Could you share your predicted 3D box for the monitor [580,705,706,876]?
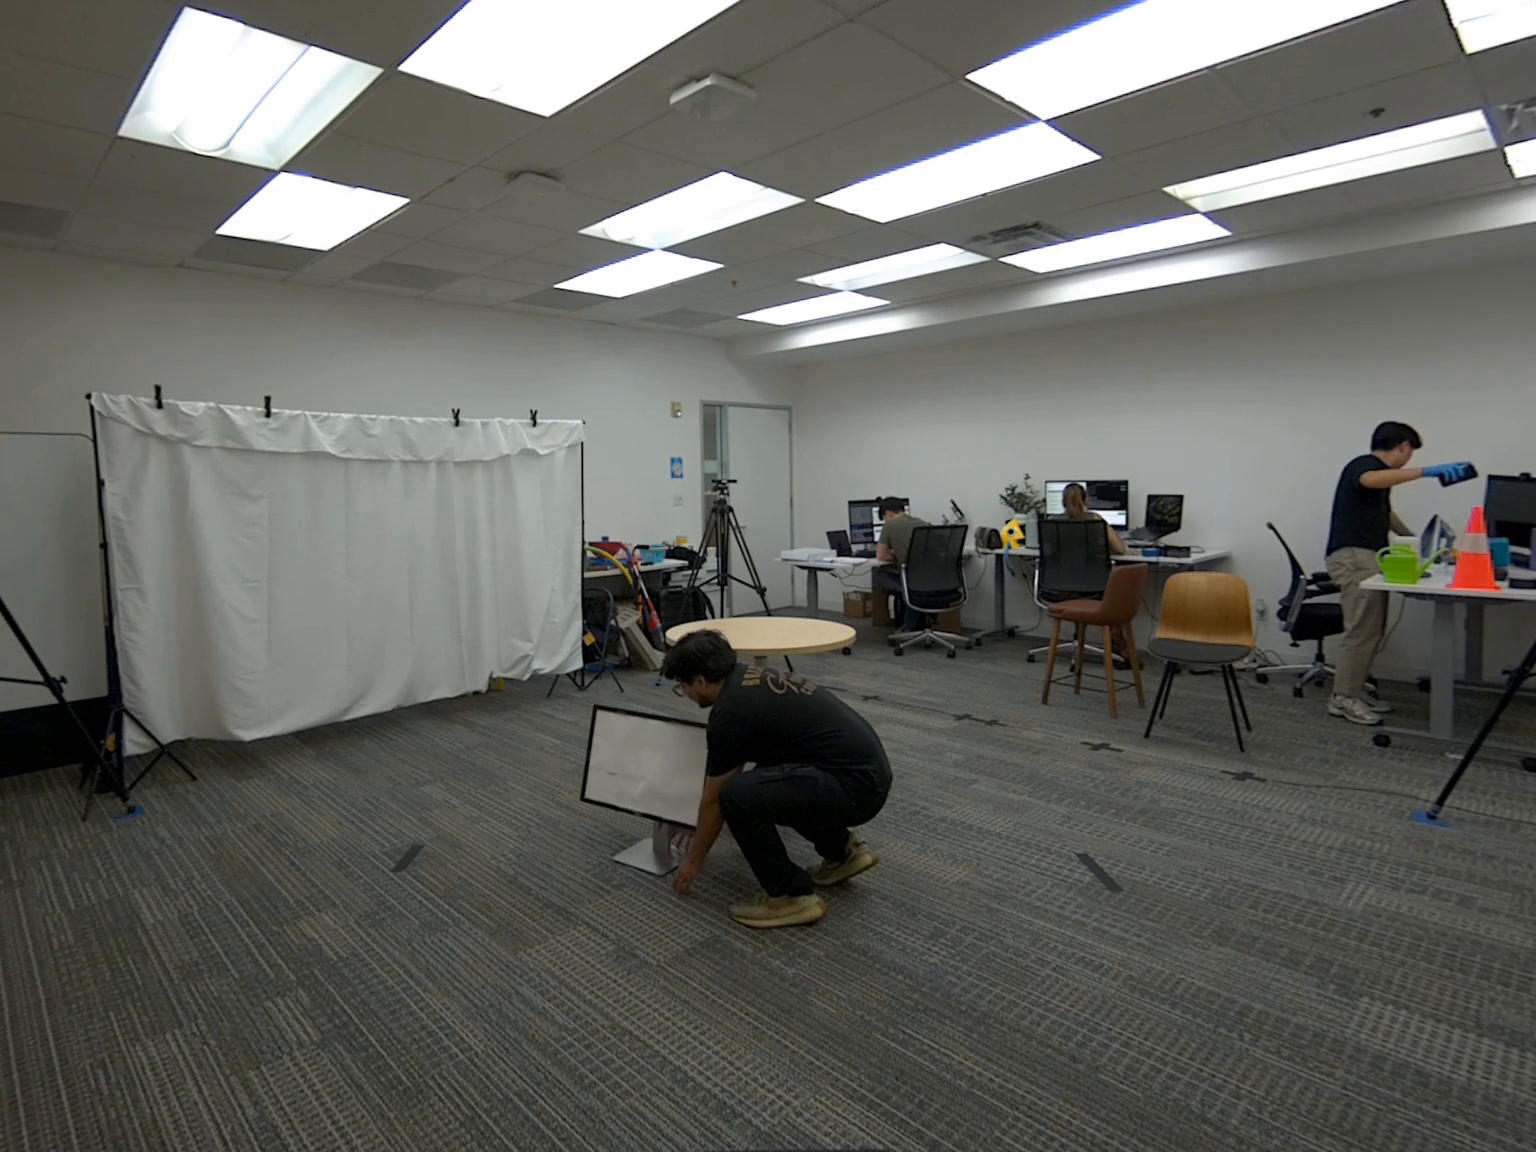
[{"bbox_3d":[-0.411,0.778,3.168,0.581,0.554,0.204,2,-1,32],"label":"monitor"}]
